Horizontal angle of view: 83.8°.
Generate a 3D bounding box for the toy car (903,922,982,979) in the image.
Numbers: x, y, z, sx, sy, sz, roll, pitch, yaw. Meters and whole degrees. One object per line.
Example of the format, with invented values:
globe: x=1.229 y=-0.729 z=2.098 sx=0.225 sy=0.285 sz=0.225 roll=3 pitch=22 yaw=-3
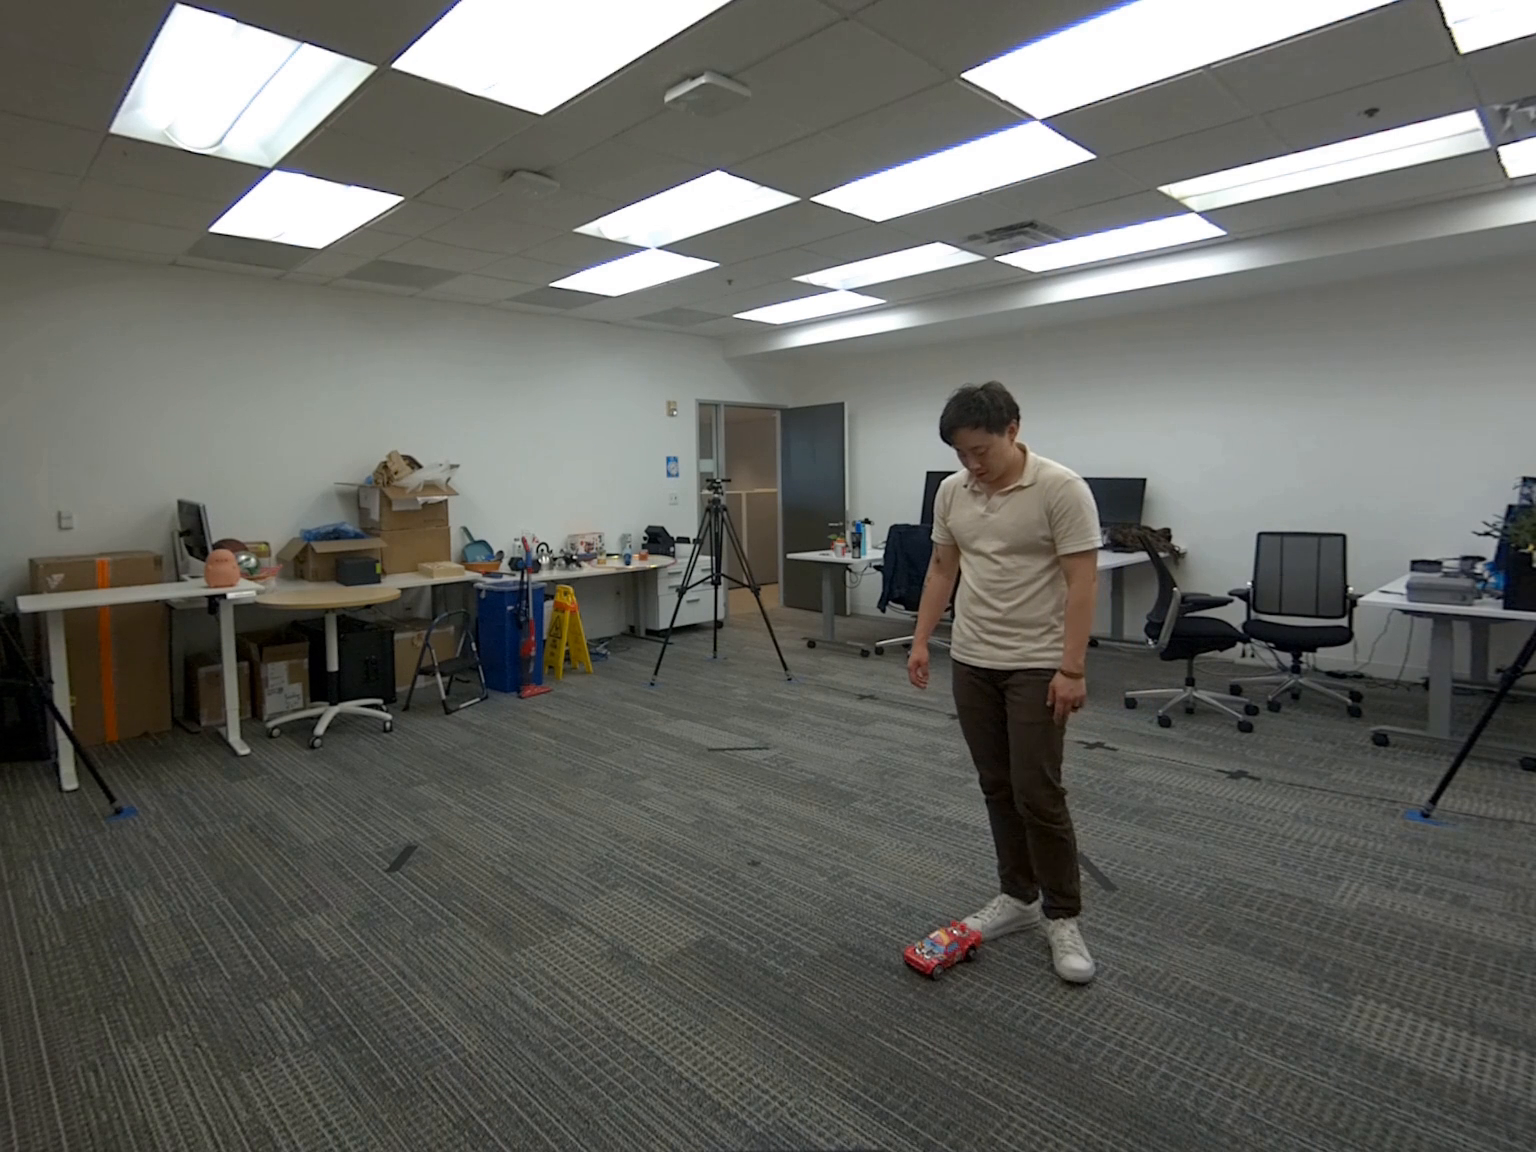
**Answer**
toy car: x=0.523 y=1.081 z=2.460 sx=0.250 sy=0.082 sz=0.134 roll=-19 pitch=15 yaw=-34
